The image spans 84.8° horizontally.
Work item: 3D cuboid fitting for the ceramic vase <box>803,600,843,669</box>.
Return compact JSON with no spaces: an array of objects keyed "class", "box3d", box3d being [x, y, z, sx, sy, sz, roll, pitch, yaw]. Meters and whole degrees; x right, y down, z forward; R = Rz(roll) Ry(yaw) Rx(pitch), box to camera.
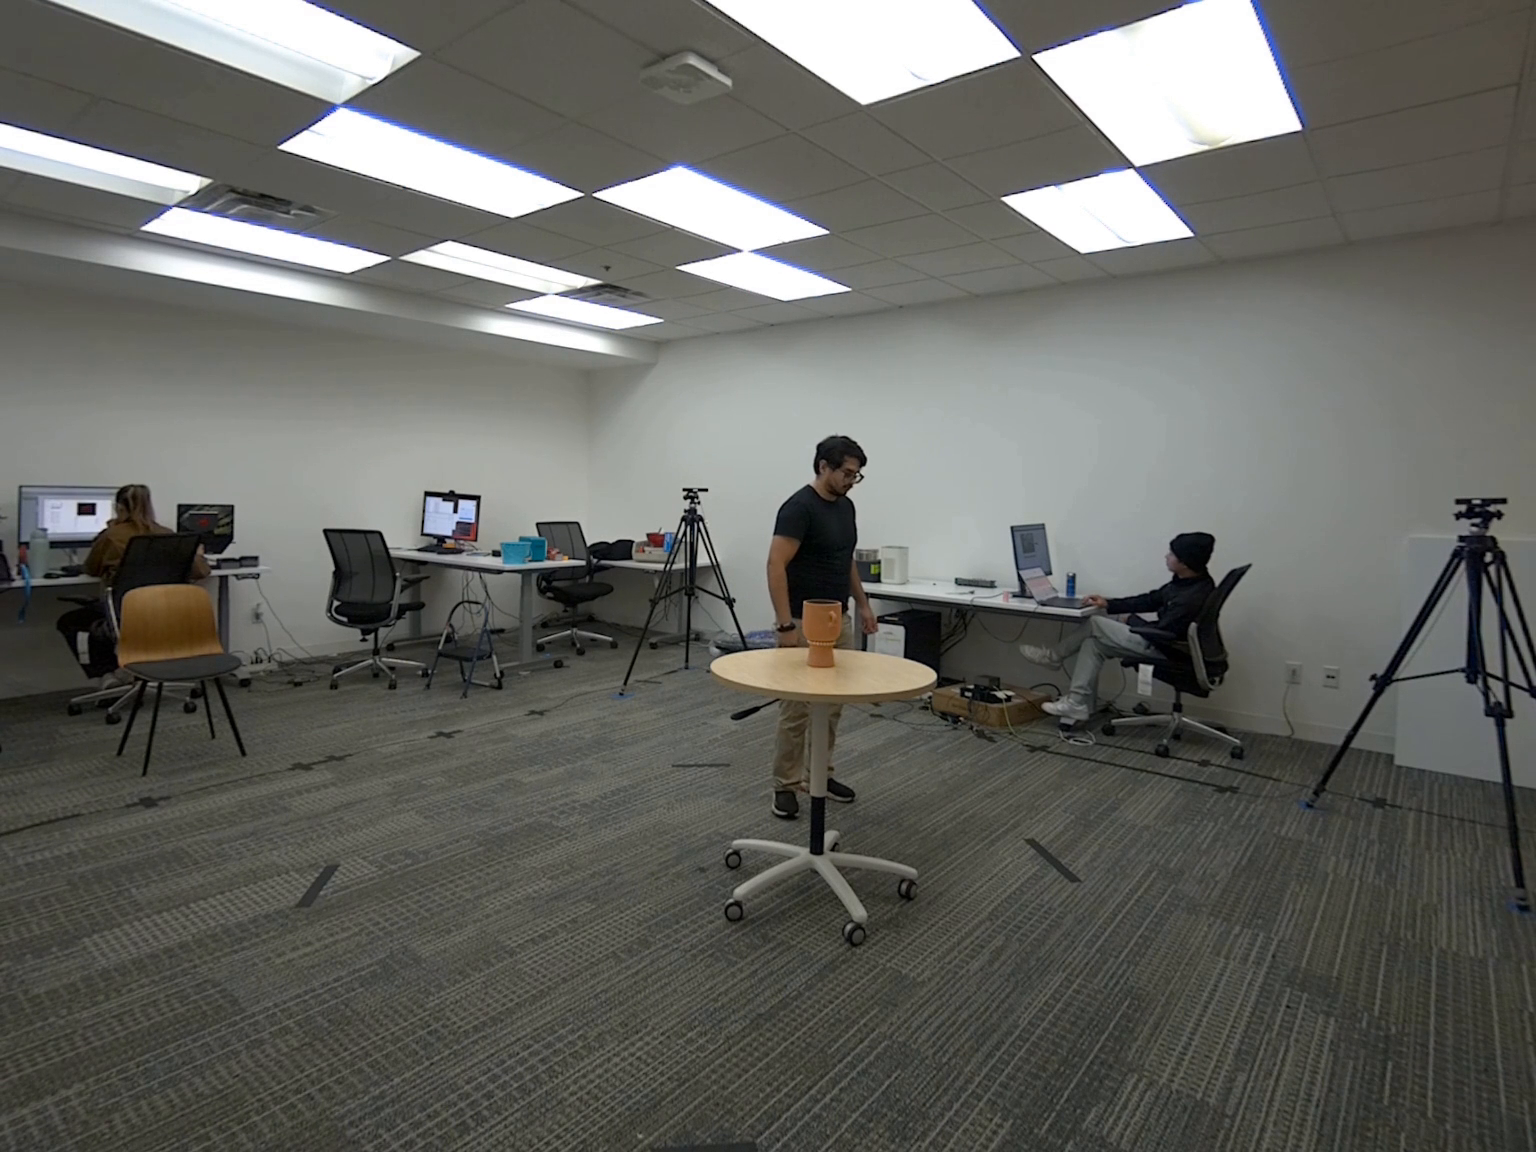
[{"class":"ceramic vase","box3d":[0.179,0.197,2.968,0.137,0.219,0.156,1,3,18]}]
